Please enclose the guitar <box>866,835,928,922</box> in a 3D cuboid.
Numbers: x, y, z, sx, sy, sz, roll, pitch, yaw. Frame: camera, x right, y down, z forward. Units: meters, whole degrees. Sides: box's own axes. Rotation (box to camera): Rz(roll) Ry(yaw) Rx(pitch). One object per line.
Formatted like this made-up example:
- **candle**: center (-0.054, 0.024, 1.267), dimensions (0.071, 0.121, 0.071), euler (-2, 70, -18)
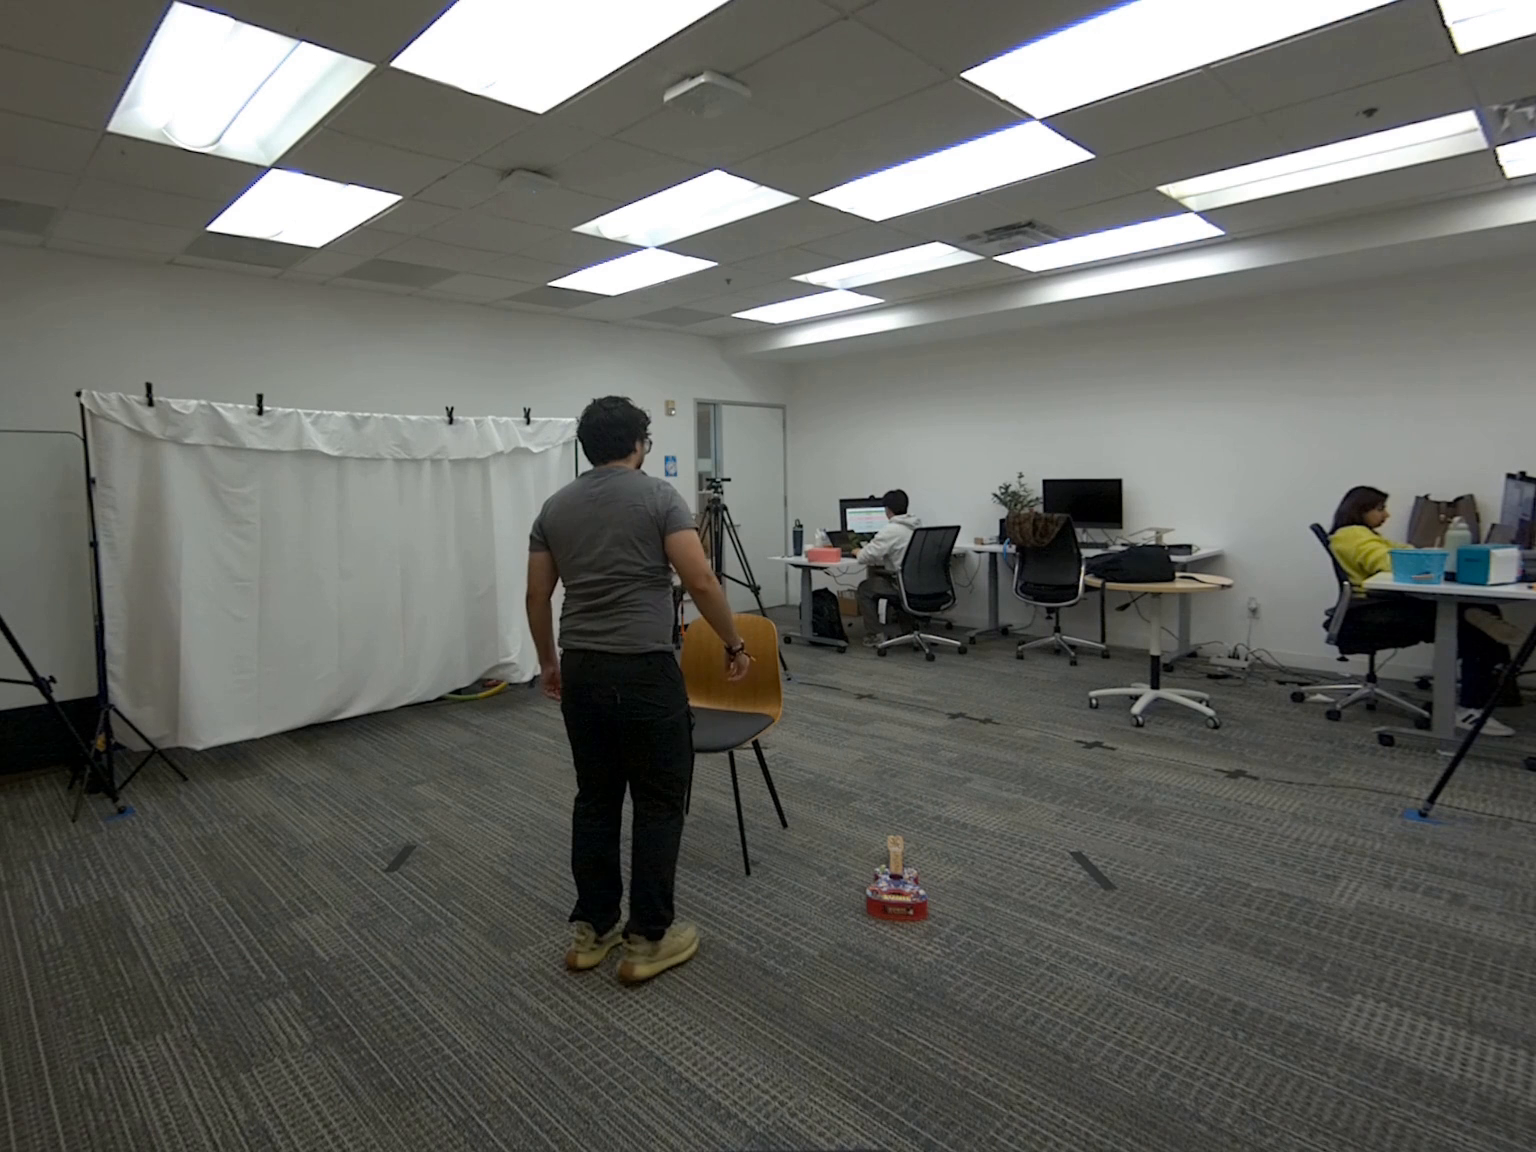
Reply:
- **guitar**: center (0.469, 1.023, 2.913), dimensions (0.196, 0.070, 0.492), euler (1, 7, 17)
